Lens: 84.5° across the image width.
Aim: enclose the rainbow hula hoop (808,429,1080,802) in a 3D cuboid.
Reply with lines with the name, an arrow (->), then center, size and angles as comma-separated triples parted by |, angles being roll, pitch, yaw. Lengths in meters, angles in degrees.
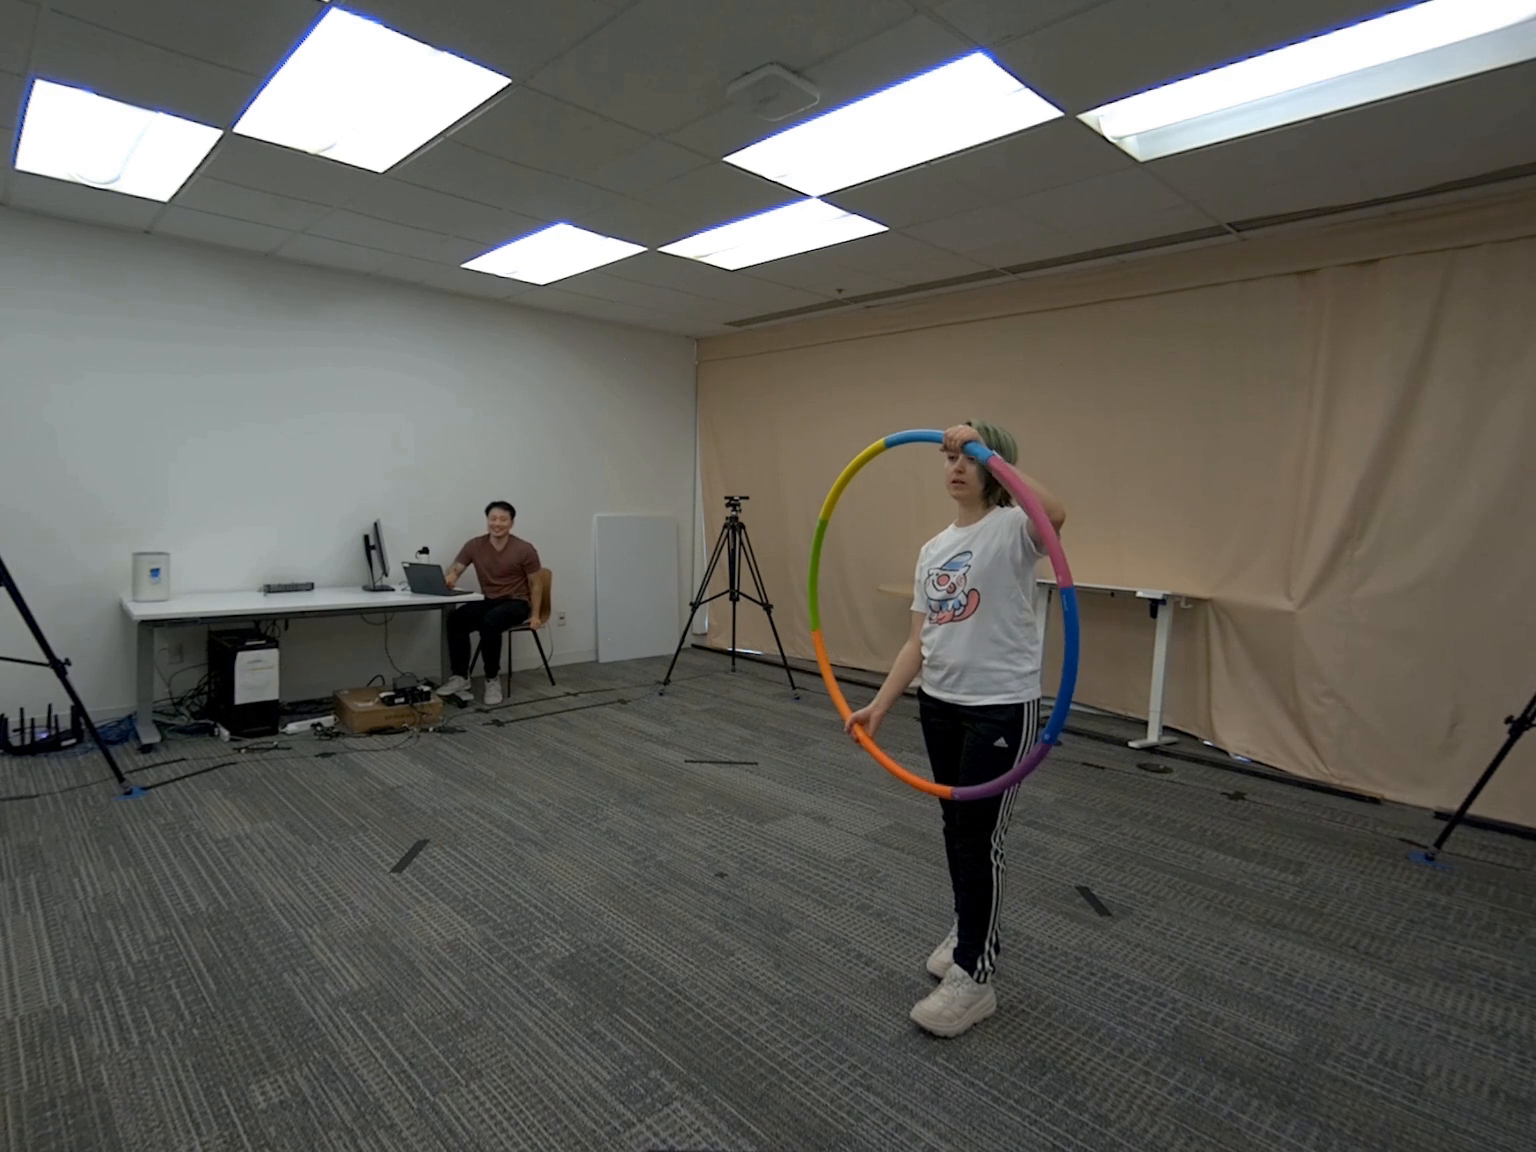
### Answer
rainbow hula hoop -> 0.404, 0.106, 2.278 | 0.035, 0.974, 1.002 | -5, 7, -33
